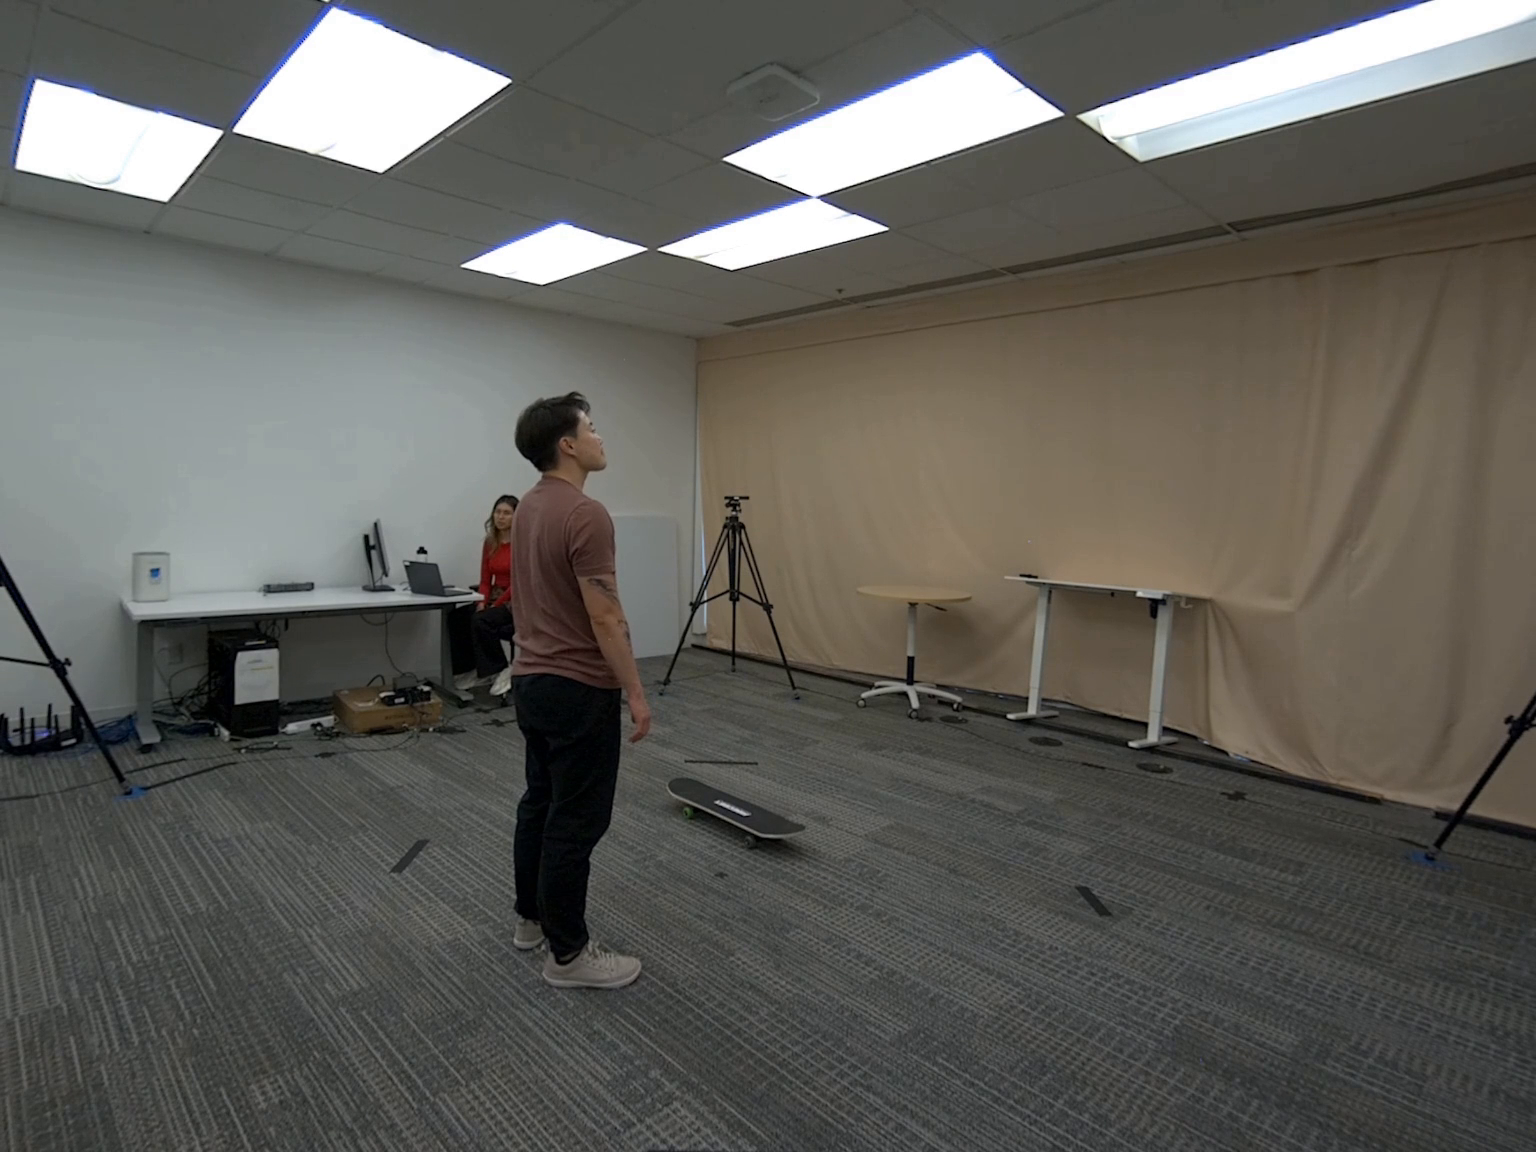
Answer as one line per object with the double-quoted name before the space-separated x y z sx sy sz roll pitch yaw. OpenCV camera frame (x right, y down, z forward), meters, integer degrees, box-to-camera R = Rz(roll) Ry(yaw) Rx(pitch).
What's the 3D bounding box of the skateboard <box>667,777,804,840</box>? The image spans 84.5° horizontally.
"skateboard" -0.161 1.012 3.551 0.189 0.110 0.806 -4 8 -42
